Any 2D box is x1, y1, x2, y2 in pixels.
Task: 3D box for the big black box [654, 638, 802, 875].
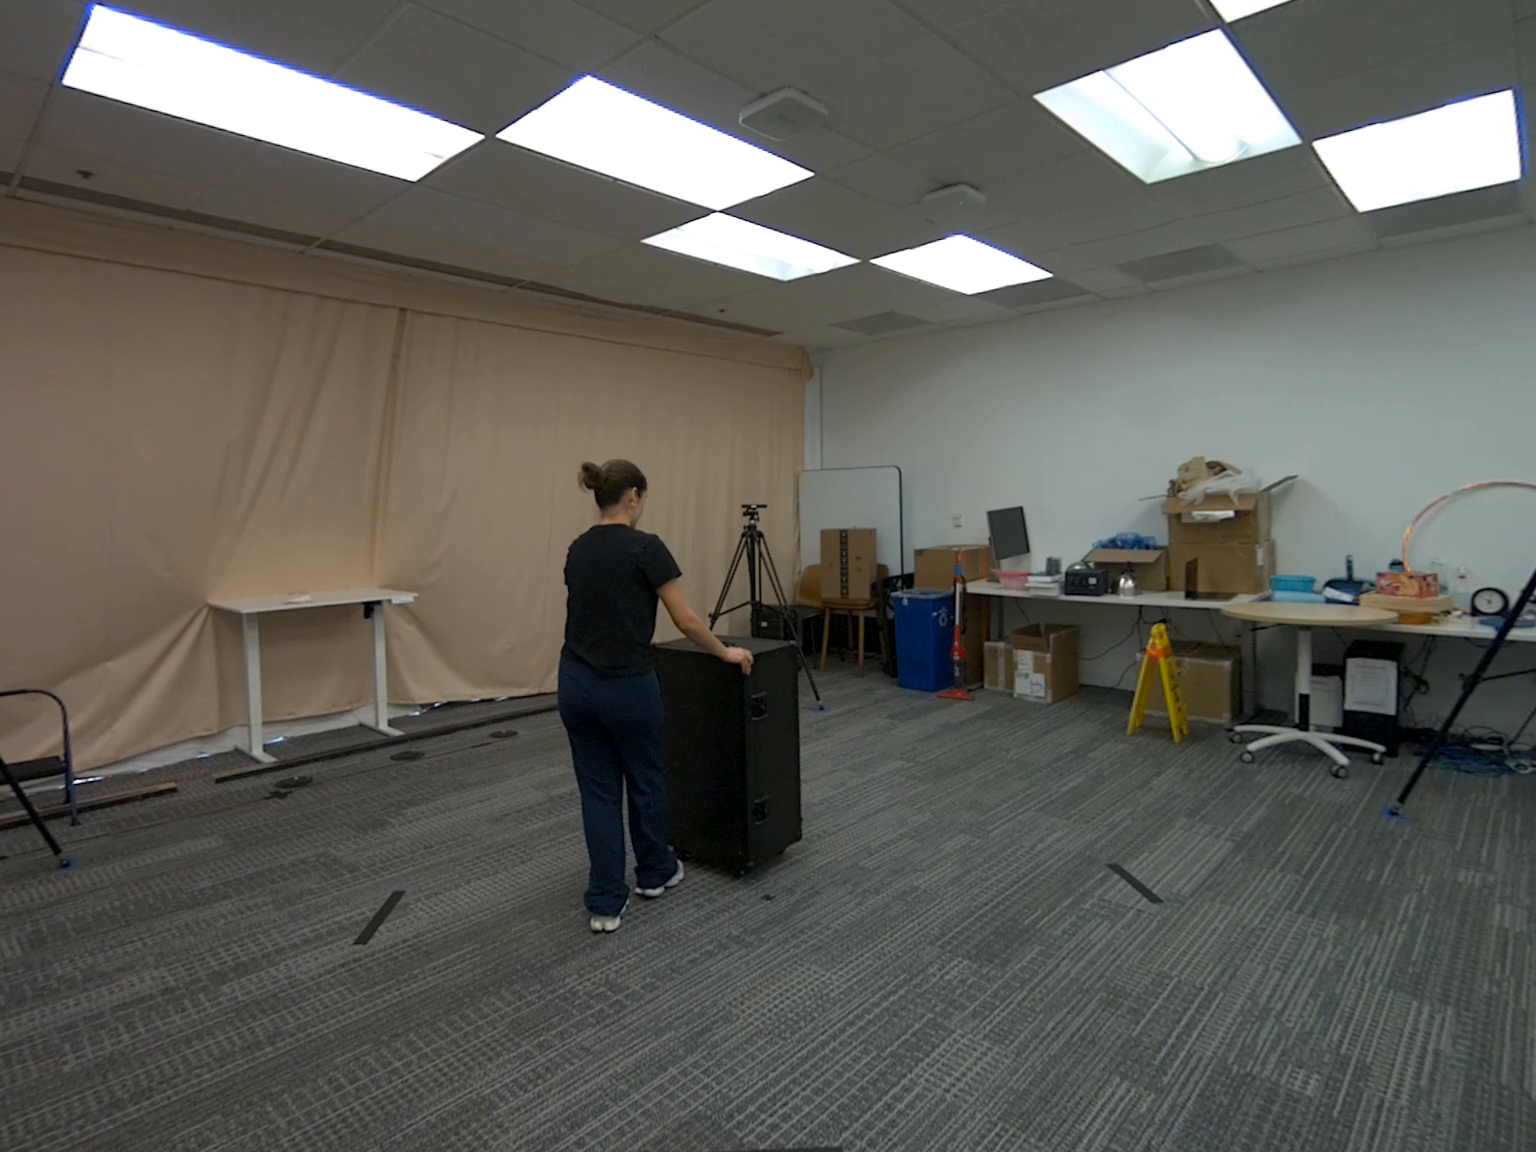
[{"bbox_3d":[-0.152,0.687,3.324,0.538,0.860,0.384,1,4,37],"label":"big black box"}]
